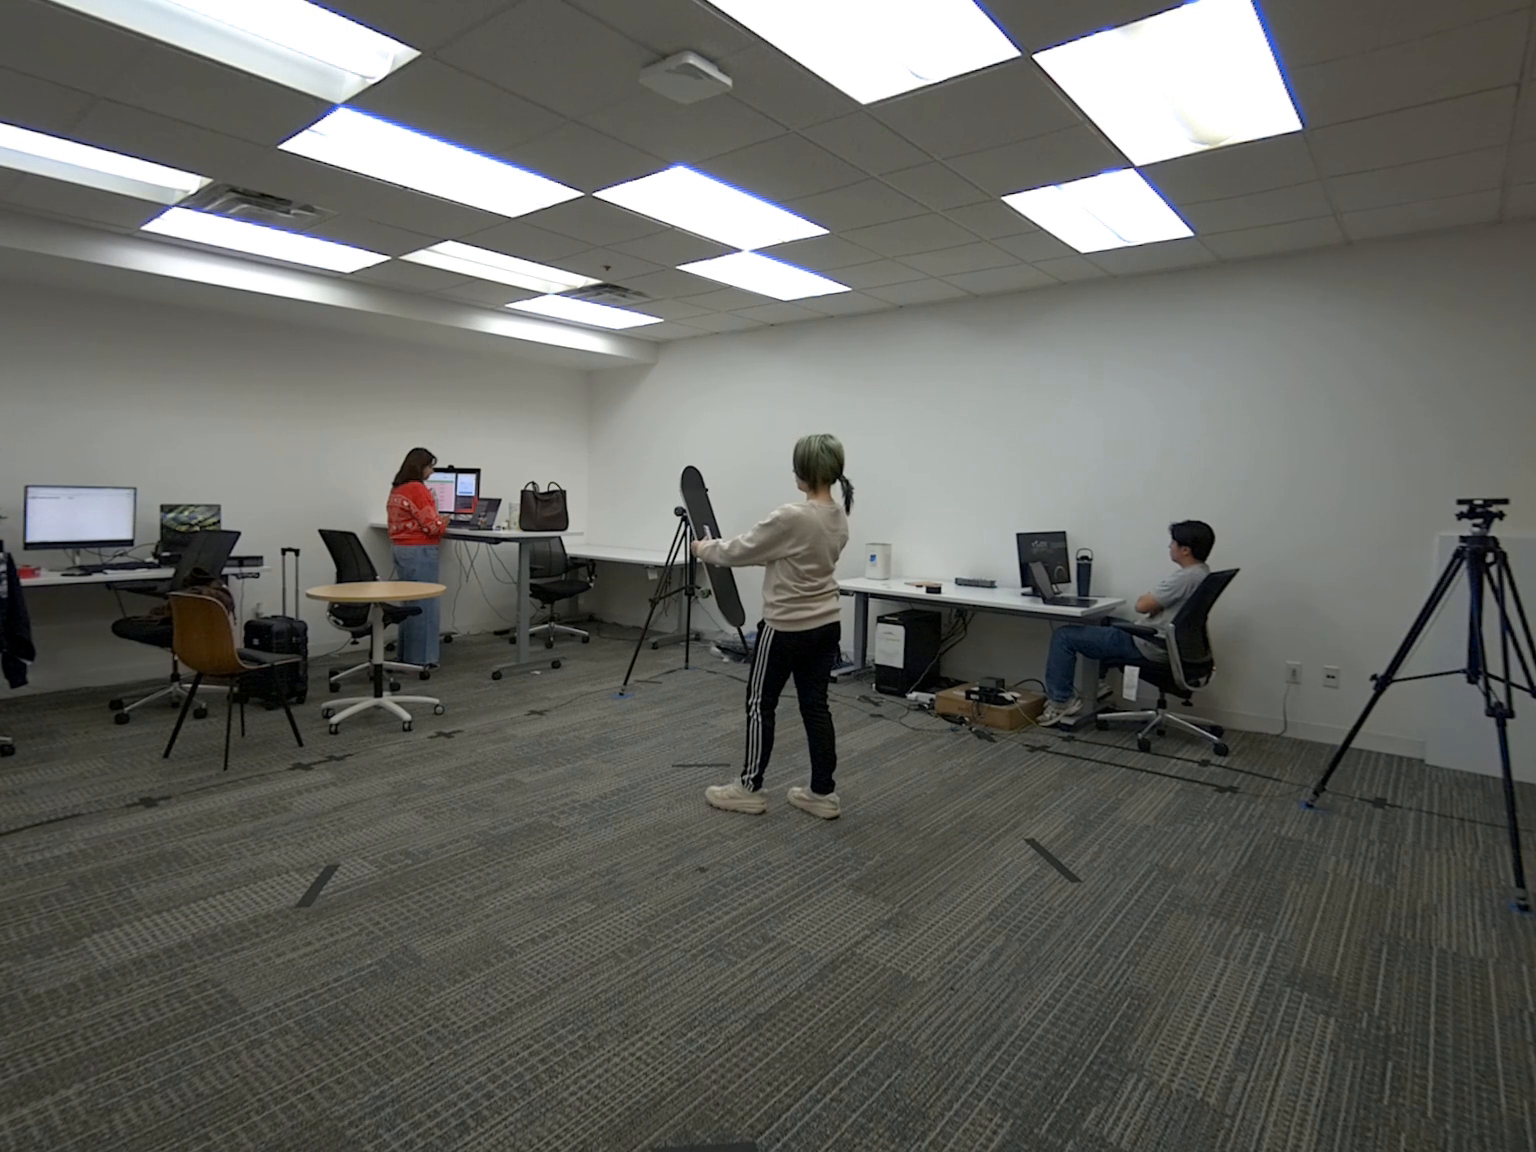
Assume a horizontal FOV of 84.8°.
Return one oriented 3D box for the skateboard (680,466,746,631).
[{"bbox_3d":[-0.299,-0.132,3.961,0.112,0.793,0.188,-23,-9,33],"label":"skateboard"}]
